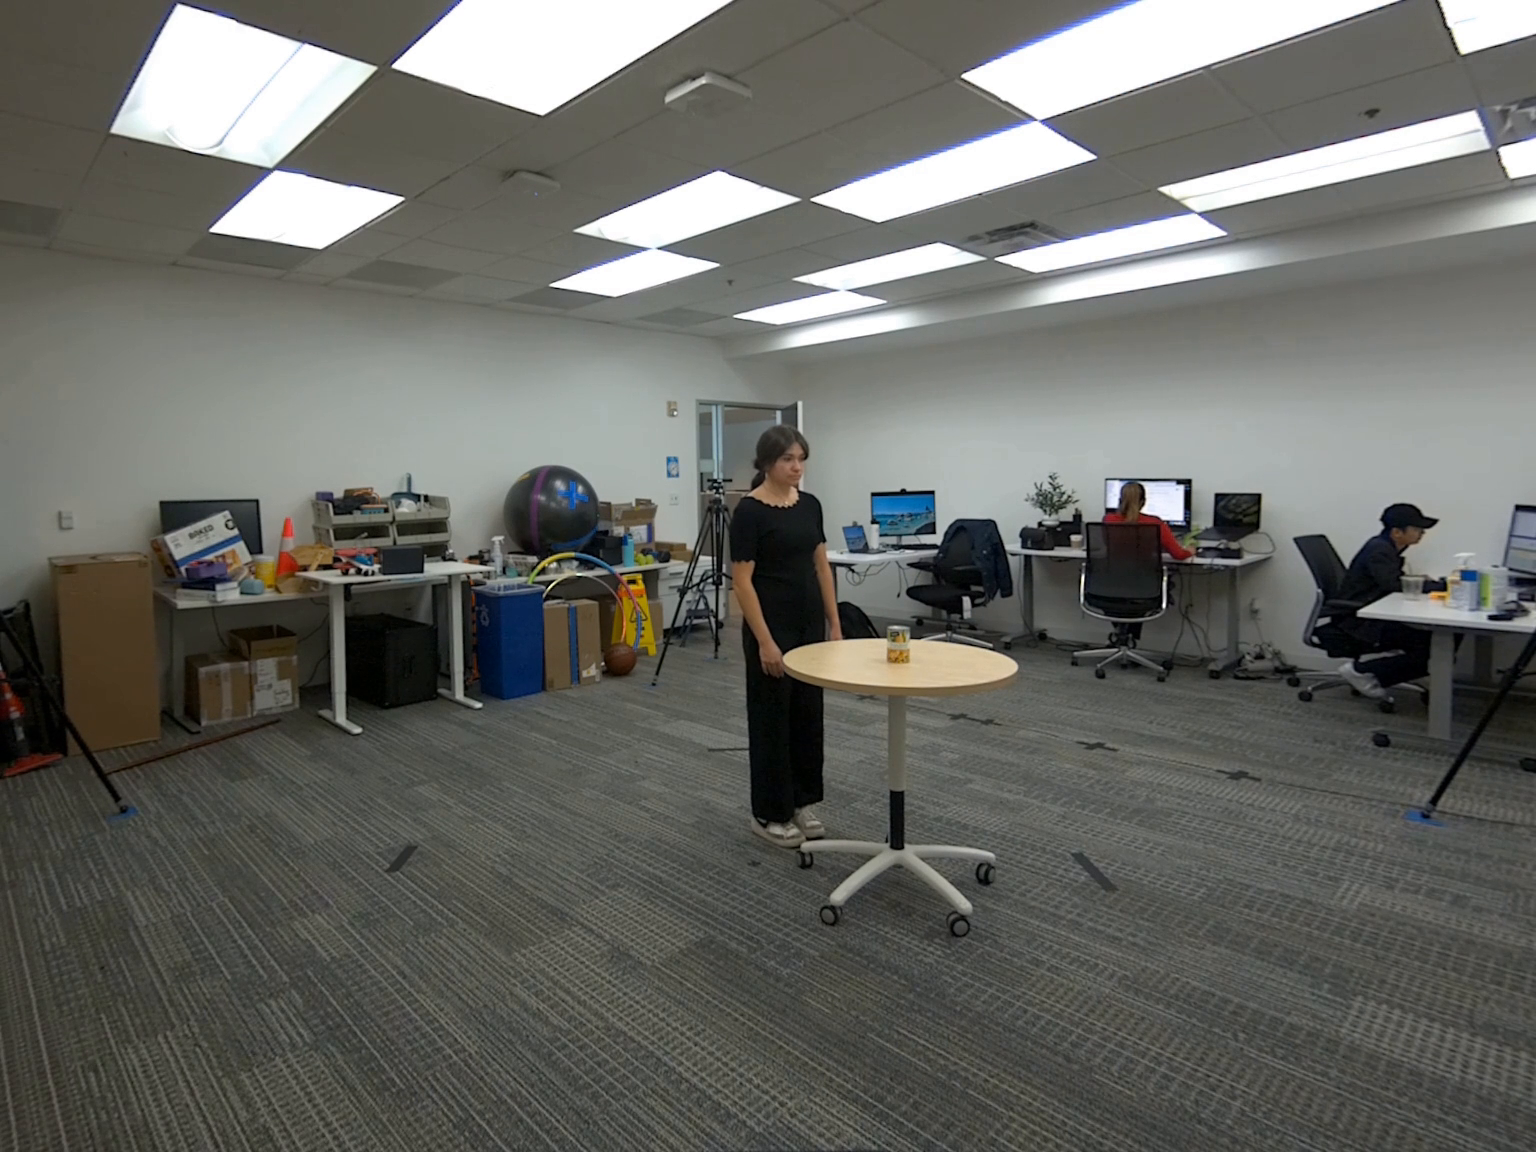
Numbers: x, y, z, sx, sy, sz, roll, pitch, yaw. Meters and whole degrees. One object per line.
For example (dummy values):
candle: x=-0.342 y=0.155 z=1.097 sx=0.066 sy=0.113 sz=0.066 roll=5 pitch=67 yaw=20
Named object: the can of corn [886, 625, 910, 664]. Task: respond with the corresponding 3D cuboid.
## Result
can of corn: x=0.442 y=0.229 z=2.831 sx=0.074 sy=0.110 sz=0.075 roll=0 pitch=7 yaw=-2
